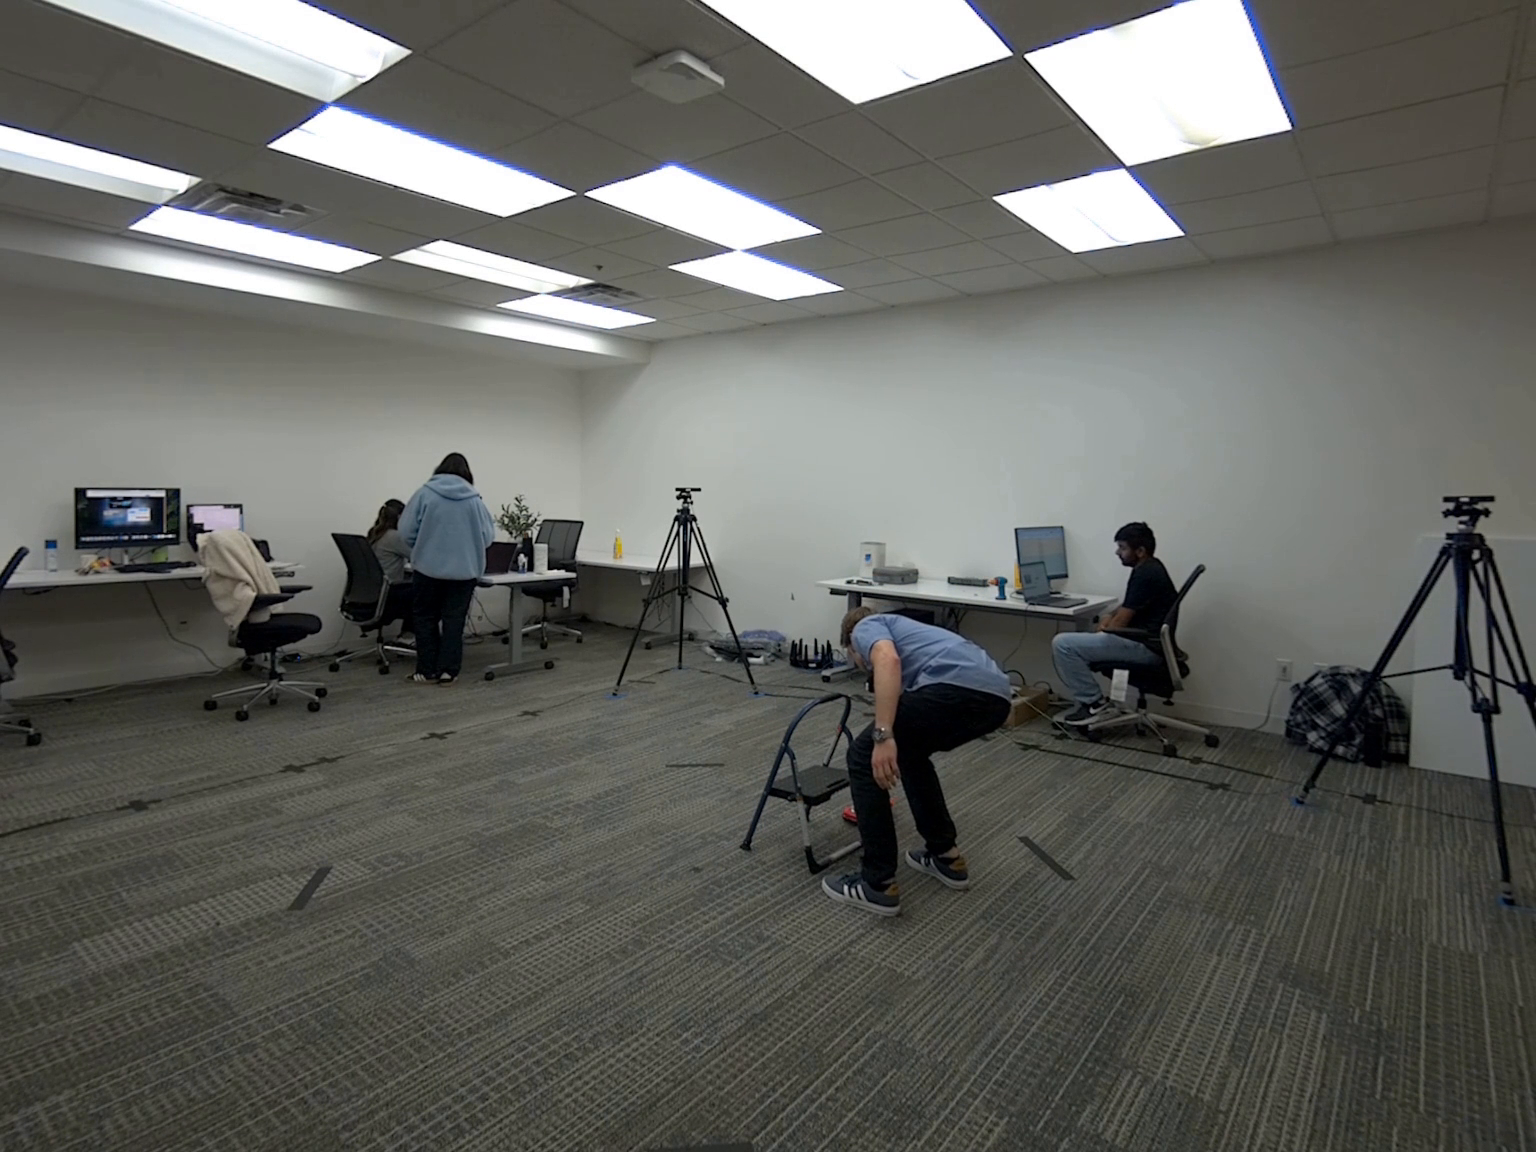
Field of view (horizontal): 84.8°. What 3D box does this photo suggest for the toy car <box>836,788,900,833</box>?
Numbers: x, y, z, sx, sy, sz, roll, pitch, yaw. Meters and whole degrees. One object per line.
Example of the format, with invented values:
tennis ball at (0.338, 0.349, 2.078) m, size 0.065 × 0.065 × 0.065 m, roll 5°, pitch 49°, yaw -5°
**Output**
toy car at (0.430, 0.991, 3.627) m, size 0.249 × 0.082 × 0.135 m, roll -20°, pitch 18°, yaw -41°
